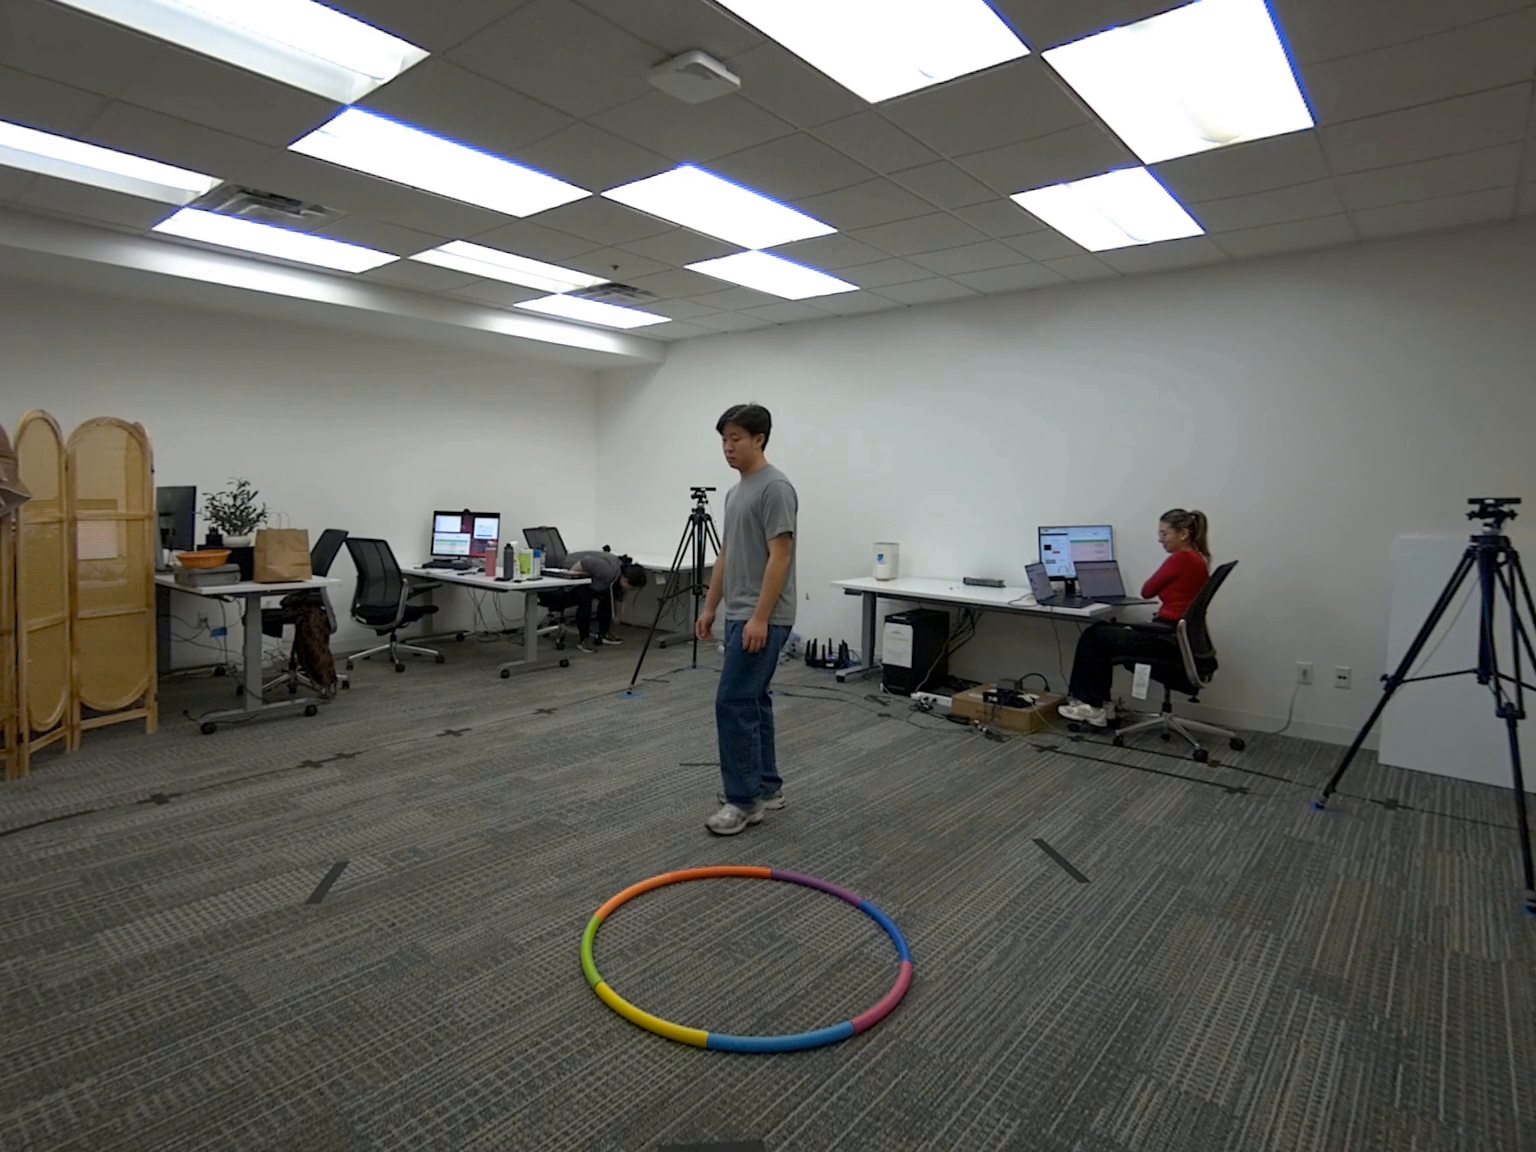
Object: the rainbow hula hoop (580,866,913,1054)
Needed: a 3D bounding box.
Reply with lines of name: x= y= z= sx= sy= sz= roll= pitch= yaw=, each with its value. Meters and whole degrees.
rainbow hula hoop: x=-0.078 y=1.088 z=2.580 sx=0.978 sy=0.035 sz=0.984 roll=1 pitch=6 yaw=-2
